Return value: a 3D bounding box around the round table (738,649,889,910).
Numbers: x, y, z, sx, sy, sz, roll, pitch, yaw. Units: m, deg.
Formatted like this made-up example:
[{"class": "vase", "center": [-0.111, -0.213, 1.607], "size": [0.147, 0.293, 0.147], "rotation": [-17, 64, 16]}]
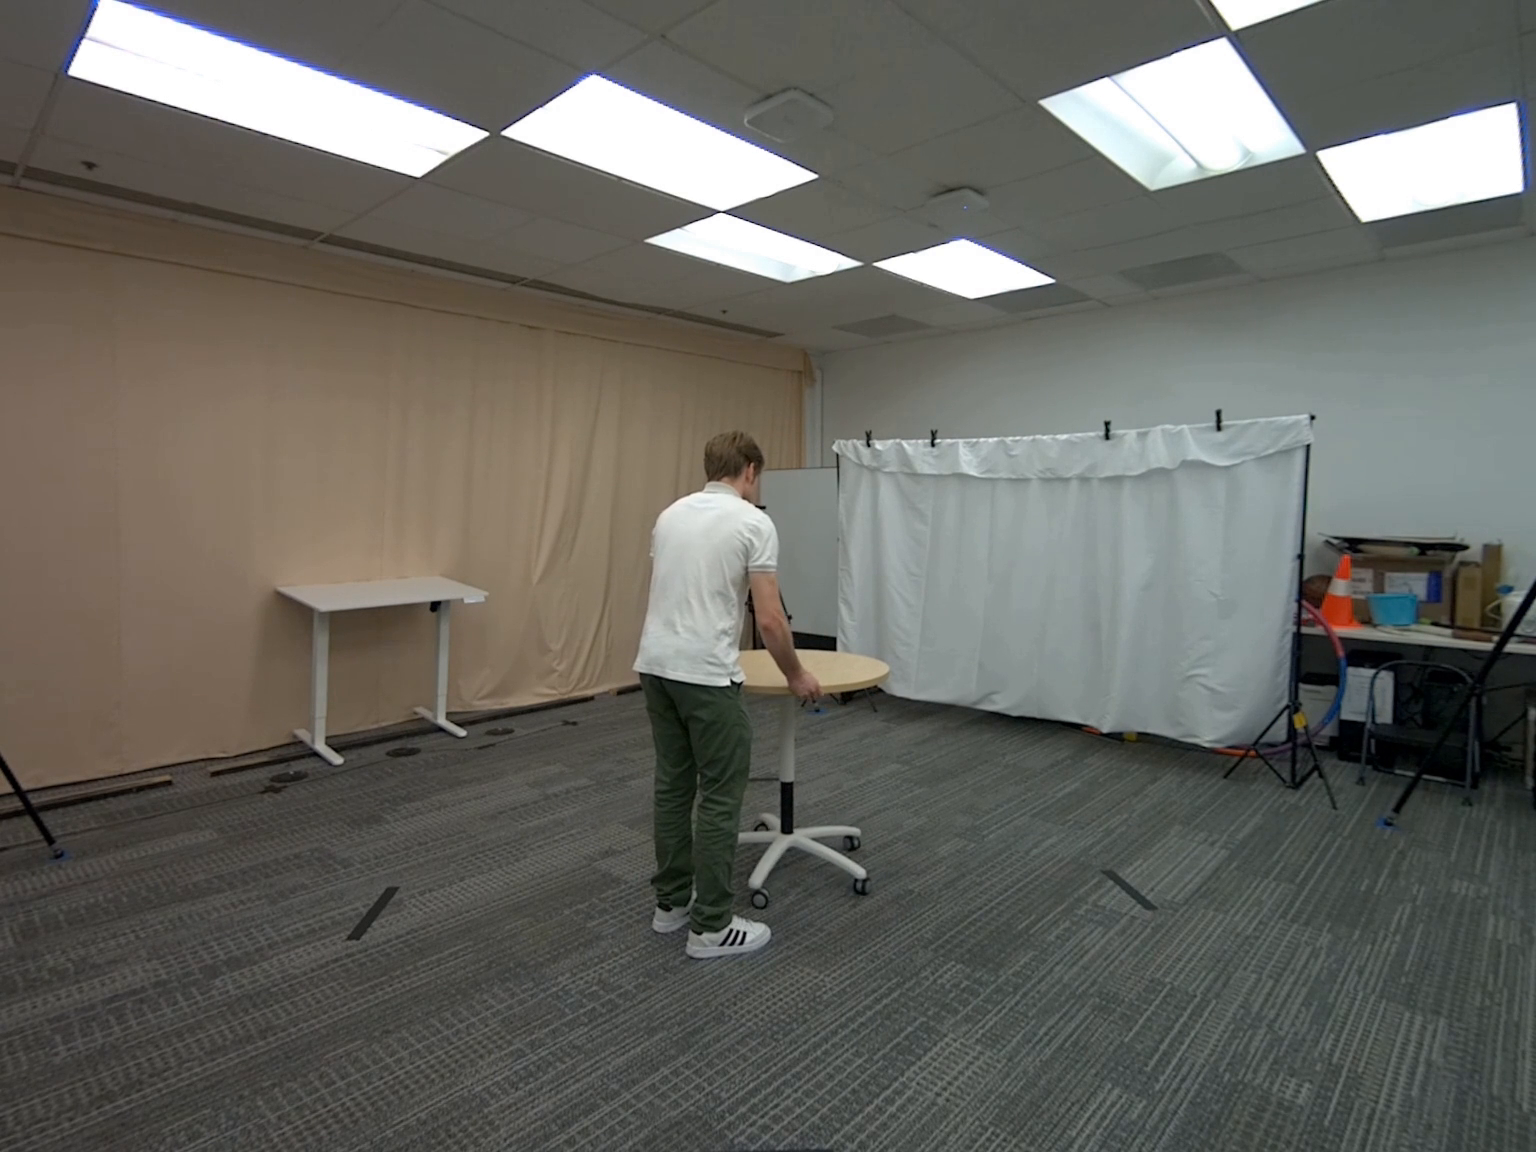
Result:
[{"class": "round table", "center": [0.084, 0.736, 3.210], "size": [0.763, 0.792, 0.766], "rotation": [0, 3, -2]}]
